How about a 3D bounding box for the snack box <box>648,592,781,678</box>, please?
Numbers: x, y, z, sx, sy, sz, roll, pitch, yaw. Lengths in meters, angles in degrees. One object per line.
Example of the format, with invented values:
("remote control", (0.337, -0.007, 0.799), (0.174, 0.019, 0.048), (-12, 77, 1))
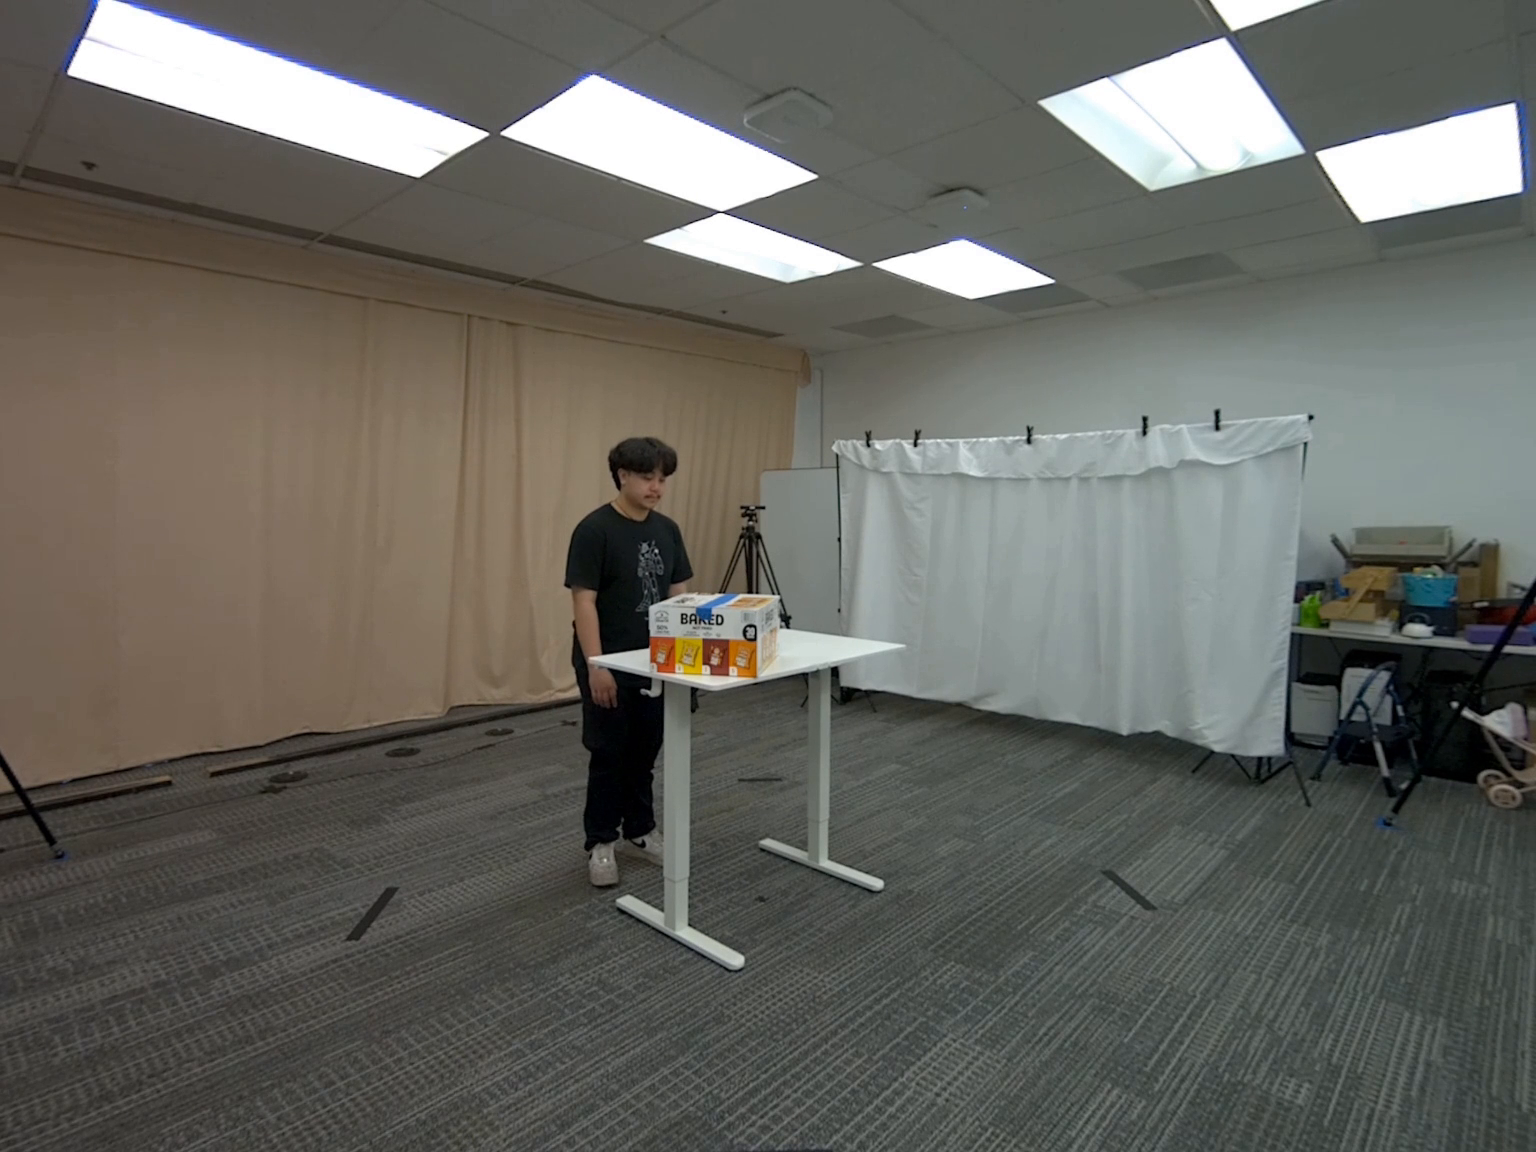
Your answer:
("snack box", (-0.161, 0.179, 2.718), (0.345, 0.205, 0.400), (1, 4, 12))
